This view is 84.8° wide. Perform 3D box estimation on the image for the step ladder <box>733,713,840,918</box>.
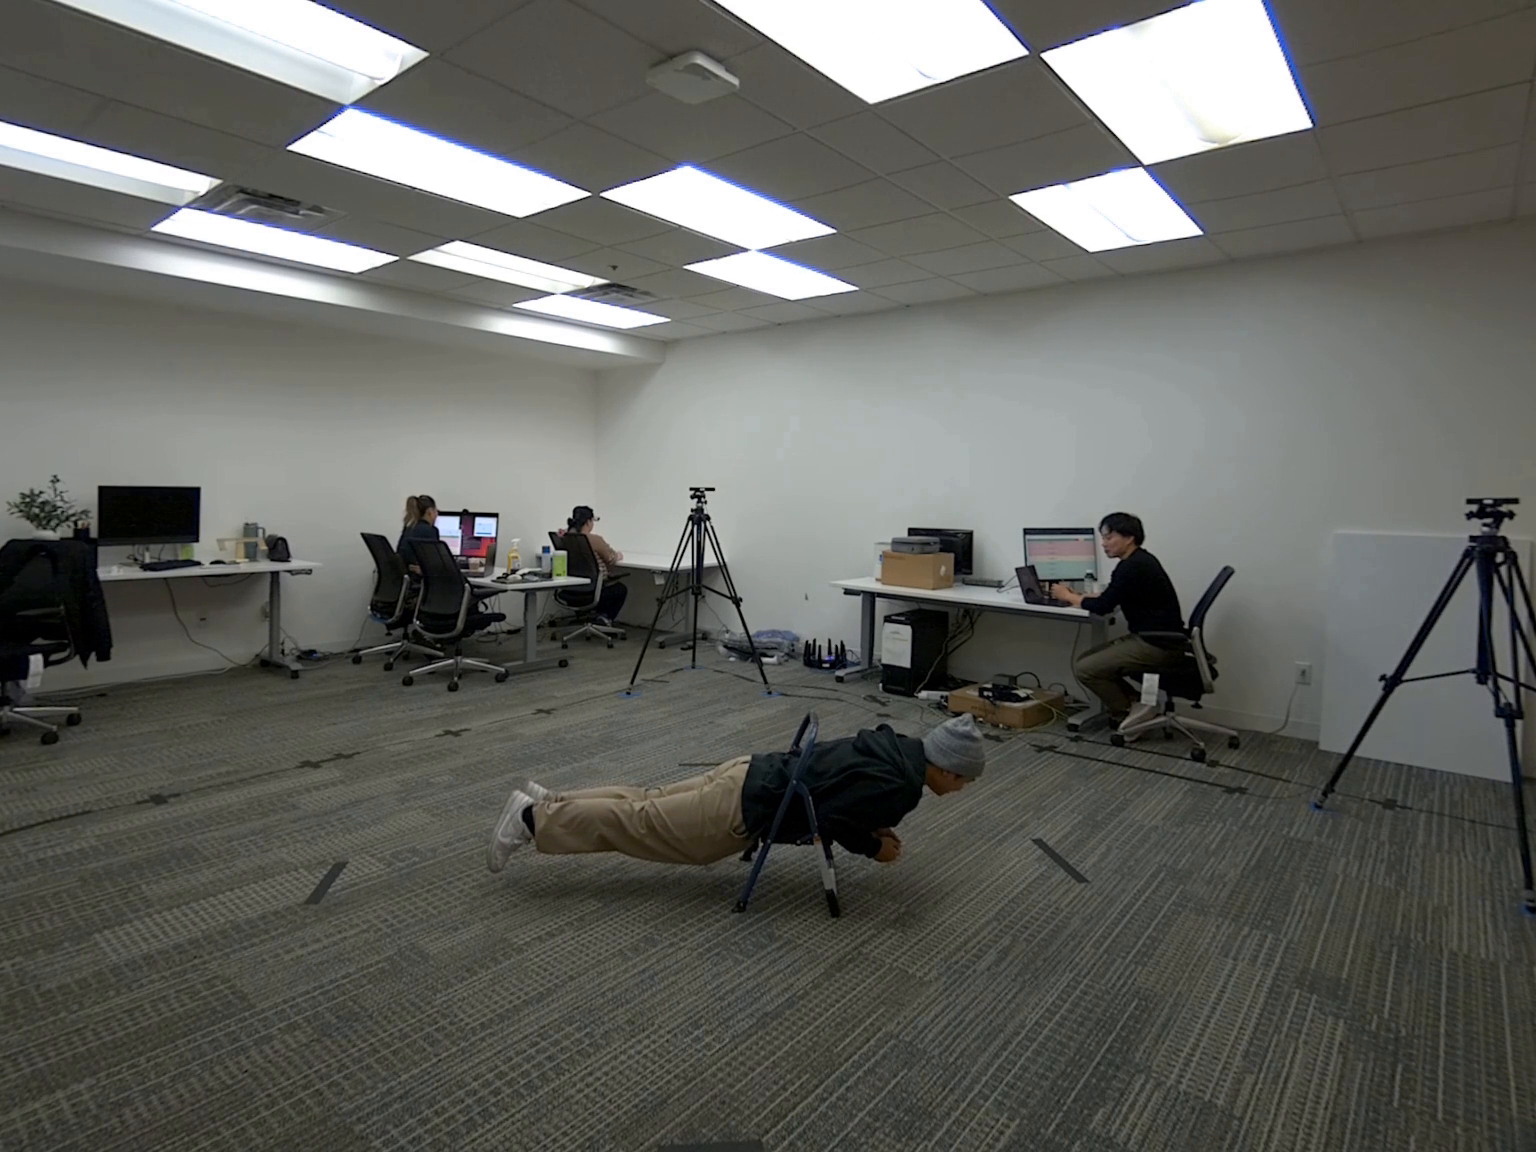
[{"bbox_3d":[0.071,0.790,2.971,0.350,0.604,0.431,2,4,1],"label":"step ladder"}]
